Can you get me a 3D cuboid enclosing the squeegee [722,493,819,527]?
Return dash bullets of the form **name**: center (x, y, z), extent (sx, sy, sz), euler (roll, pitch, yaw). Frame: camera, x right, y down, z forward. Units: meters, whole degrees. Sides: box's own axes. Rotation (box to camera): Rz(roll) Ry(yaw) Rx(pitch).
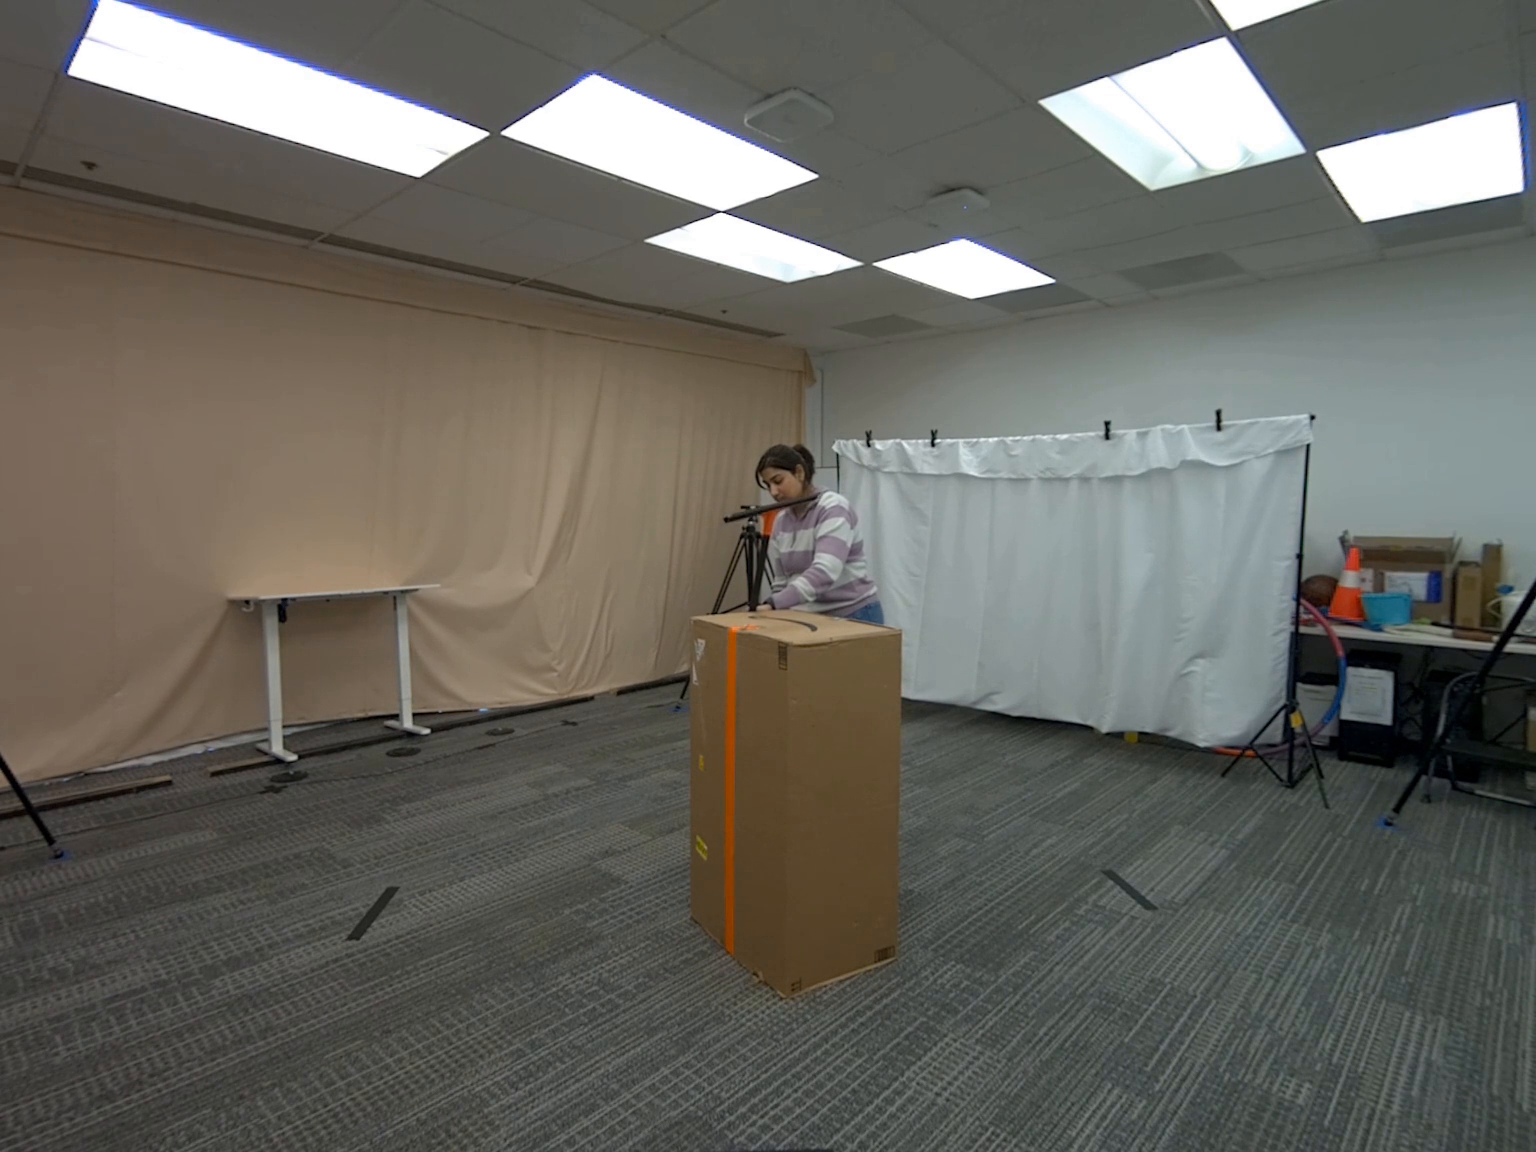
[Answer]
- **squeegee**: center (-0.130, 0.418, 3.093), extent (0.055, 1.525, 0.426), euler (31, 29, 33)
